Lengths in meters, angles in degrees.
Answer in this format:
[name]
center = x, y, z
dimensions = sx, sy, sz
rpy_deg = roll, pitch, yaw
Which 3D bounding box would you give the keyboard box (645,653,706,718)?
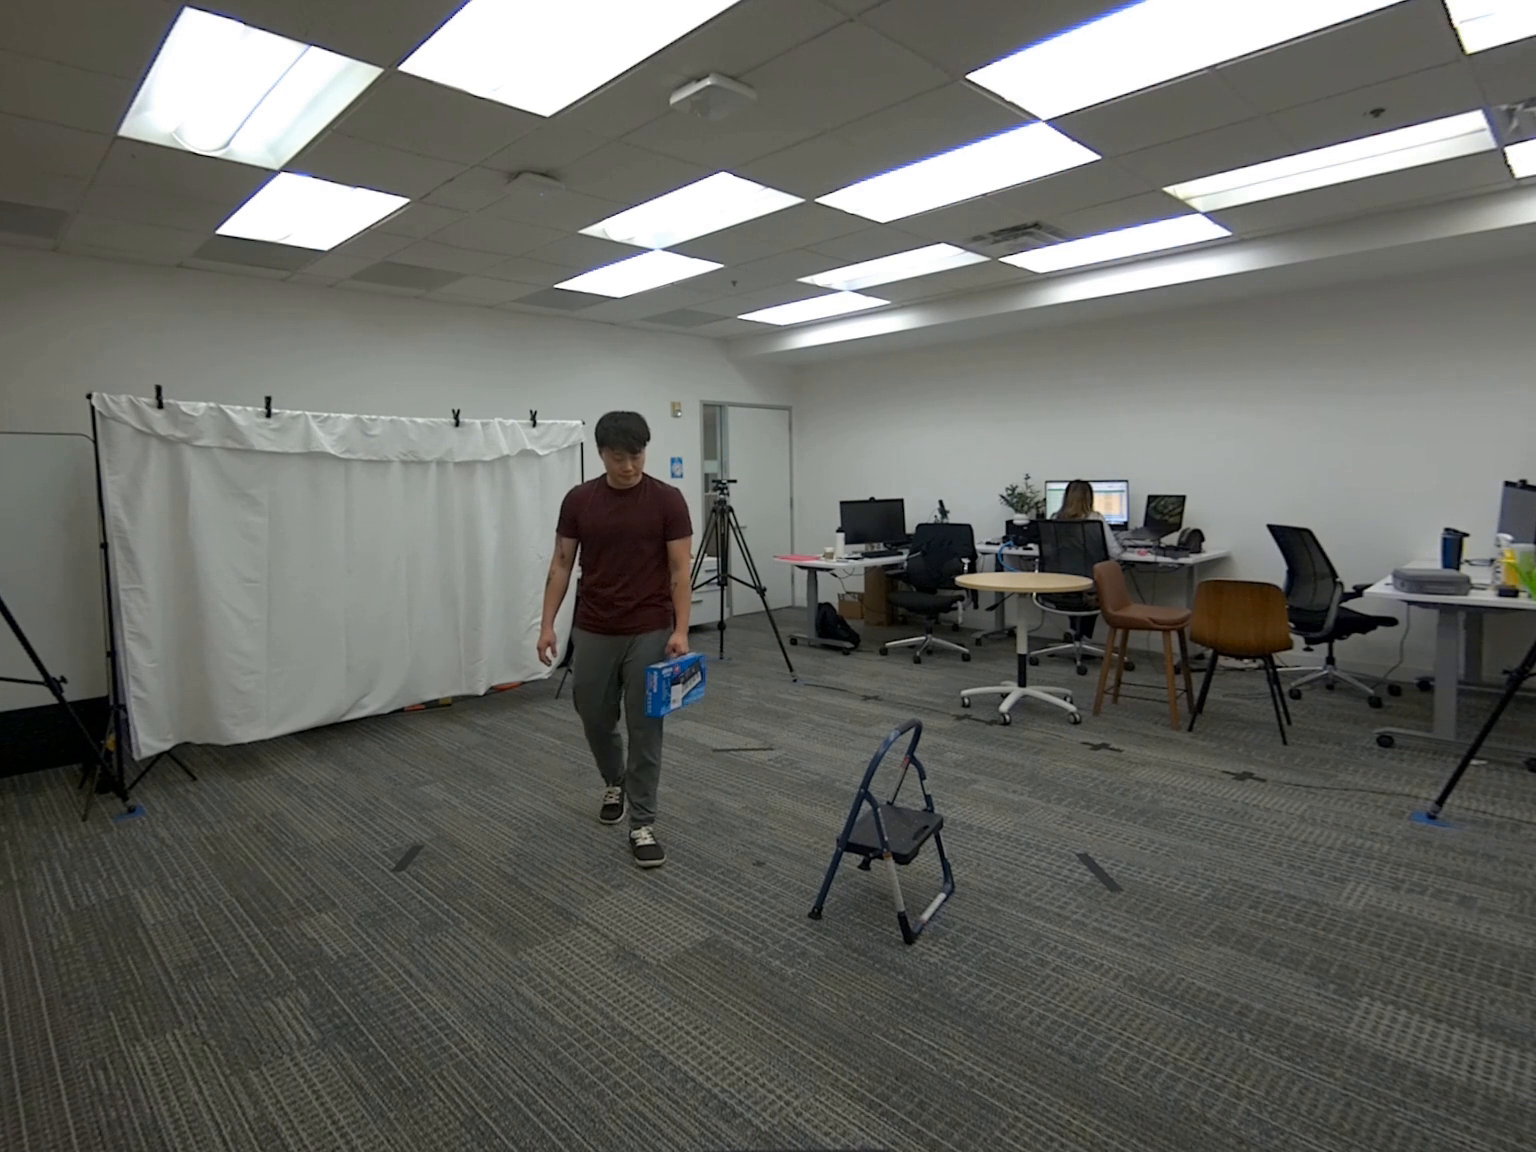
[keyboard box]
center = -0.335, 0.395, 3.163
dimensions = 0.060, 0.176, 0.429
rpy_deg = 0, 1, 16
